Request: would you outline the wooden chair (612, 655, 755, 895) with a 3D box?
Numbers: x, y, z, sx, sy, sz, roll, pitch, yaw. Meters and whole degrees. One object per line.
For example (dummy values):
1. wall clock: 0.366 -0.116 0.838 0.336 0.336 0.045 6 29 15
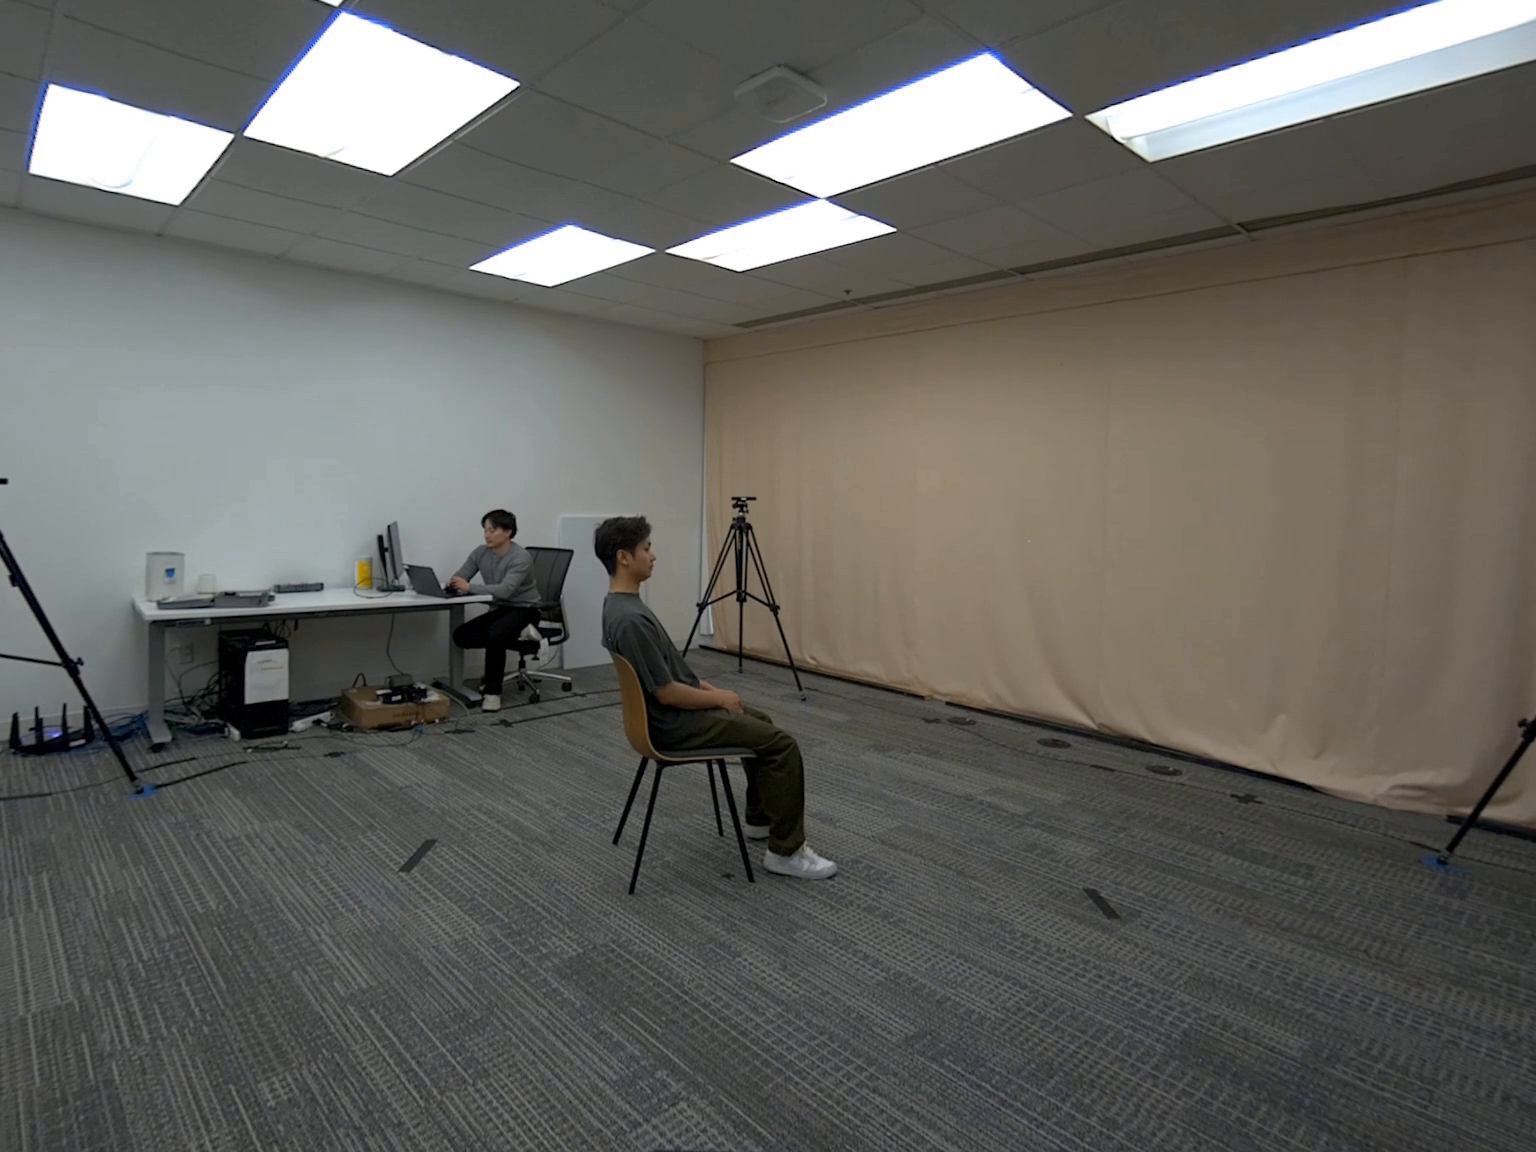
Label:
1. wooden chair: -0.328 0.663 3.182 0.517 0.875 0.485 -4 4 -16
